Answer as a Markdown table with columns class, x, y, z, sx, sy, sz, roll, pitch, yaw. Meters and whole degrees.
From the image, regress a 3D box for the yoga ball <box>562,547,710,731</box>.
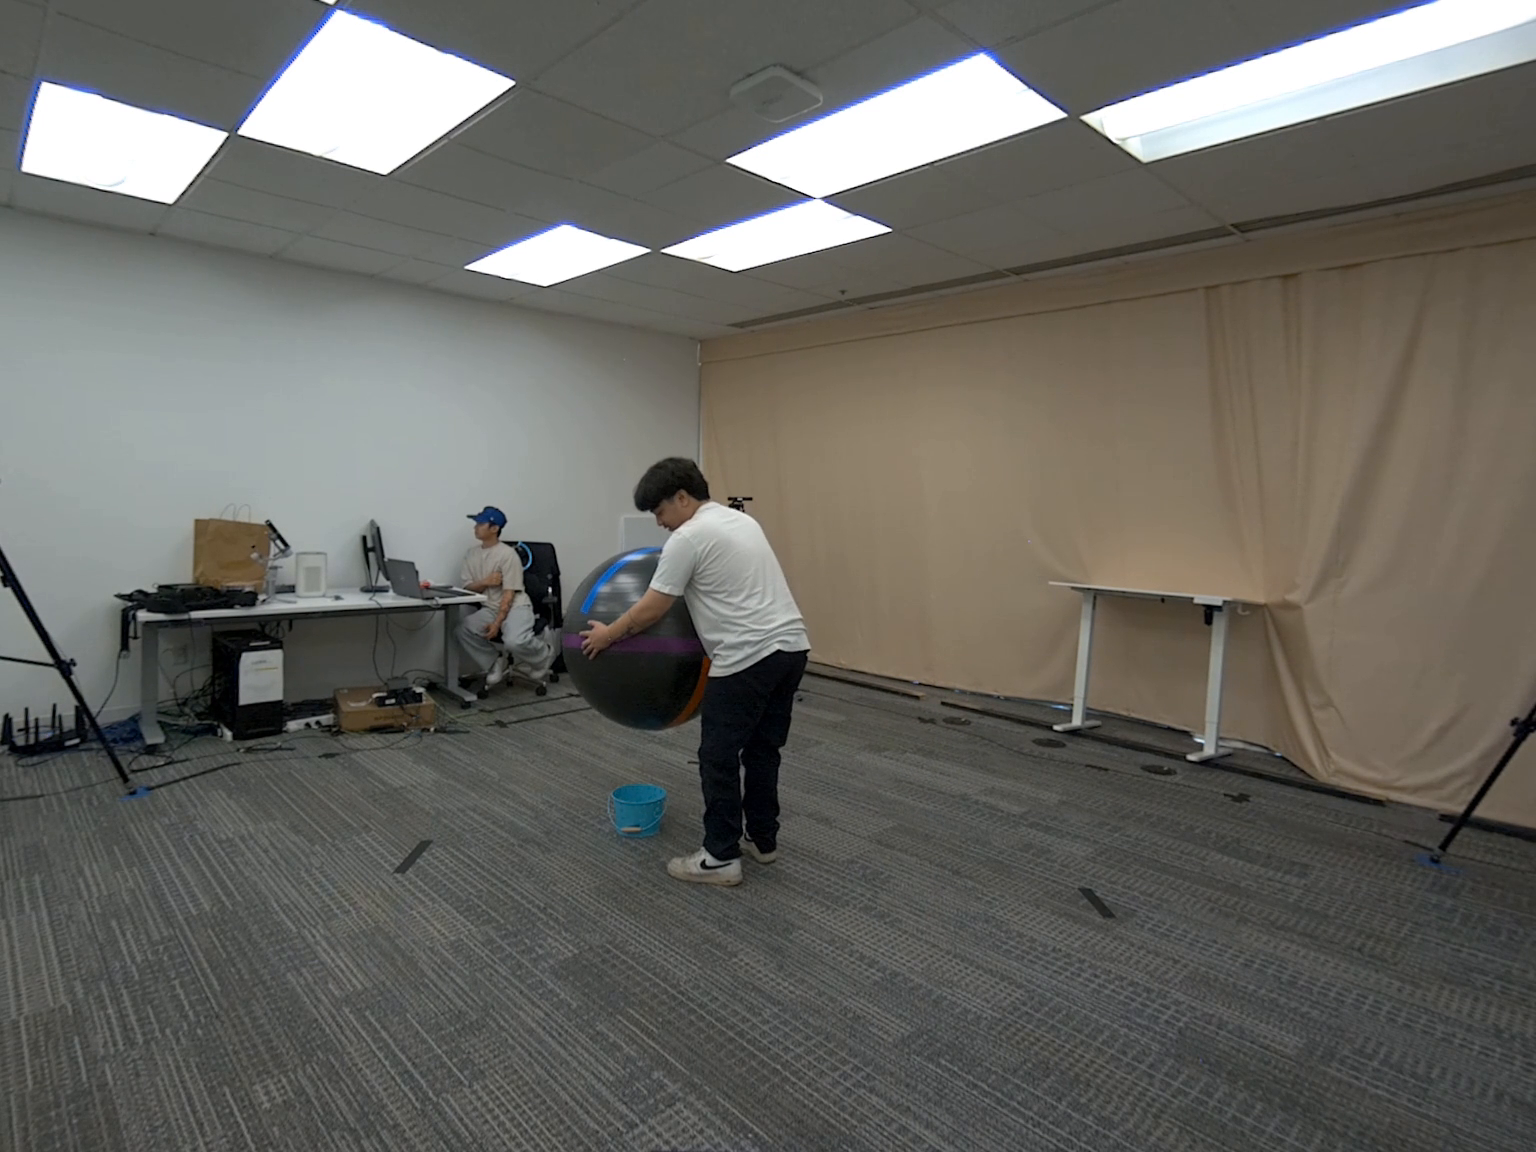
| class | x | y | z | sx | sy | sz | roll | pitch | yaw |
| --- | --- | --- | --- | --- | --- | --- | --- | --- | --- |
| yoga ball | -0.495 | 0.262 | 3.570 | 0.757 | 0.756 | 0.761 | 1 | 4 | -1 |
